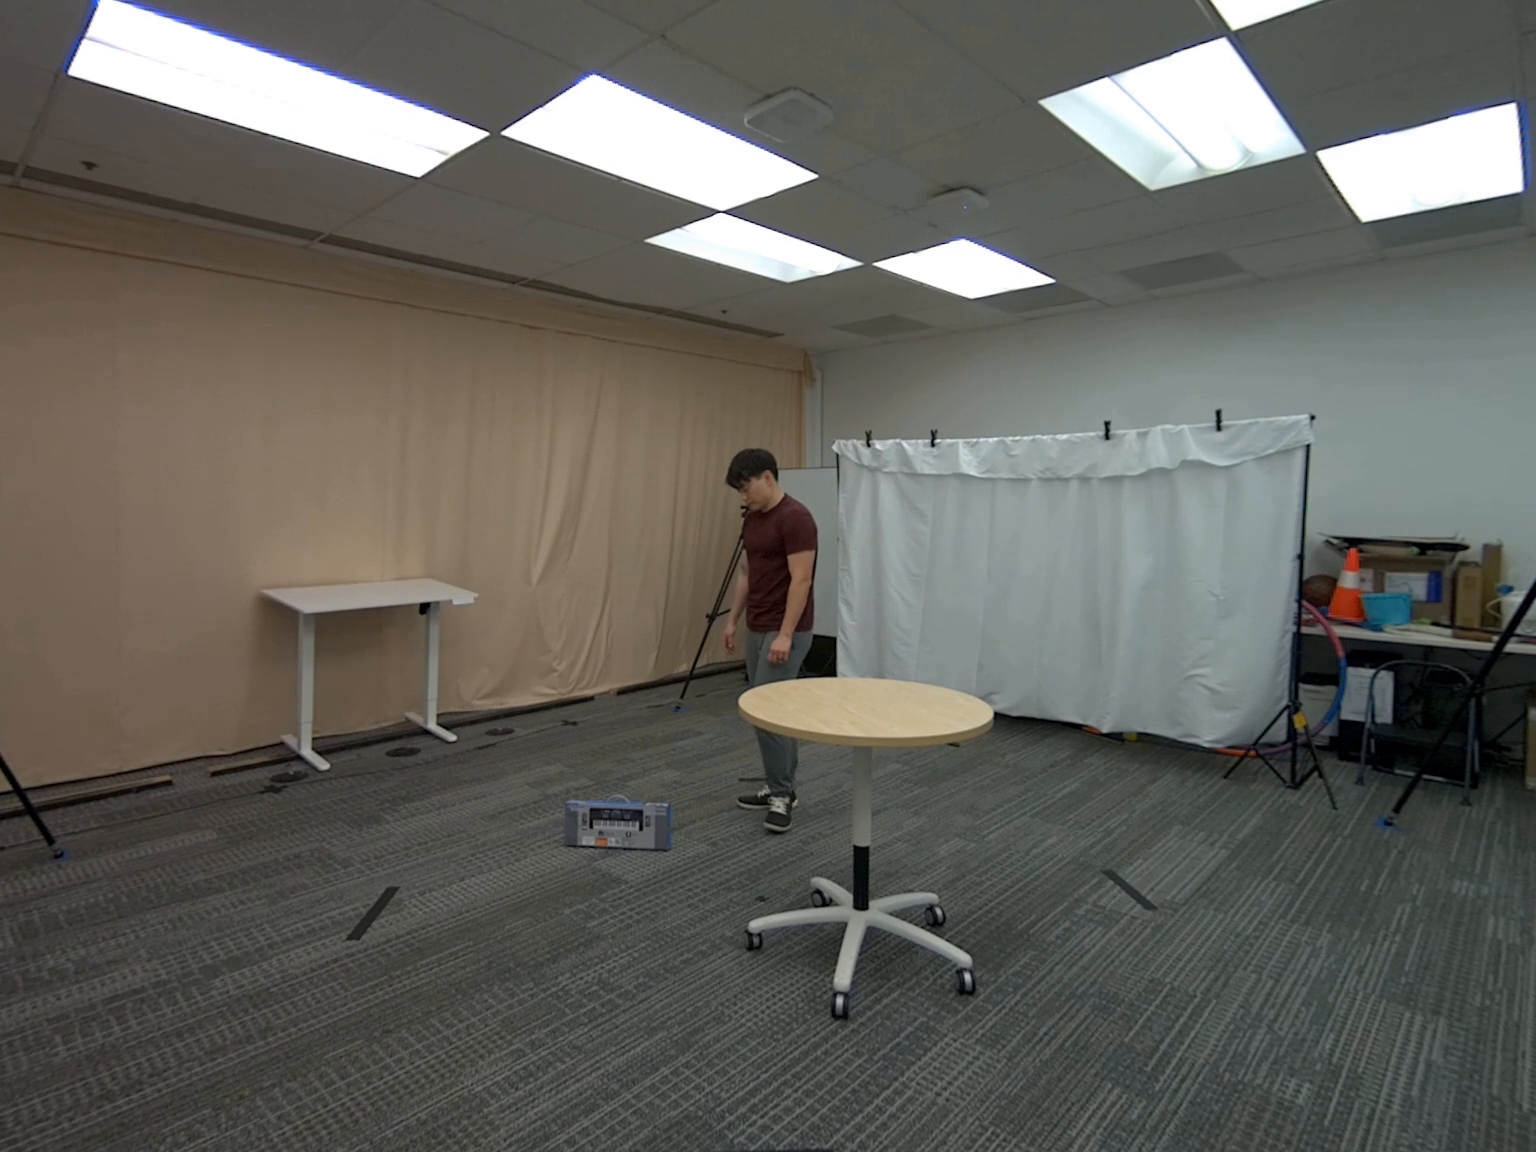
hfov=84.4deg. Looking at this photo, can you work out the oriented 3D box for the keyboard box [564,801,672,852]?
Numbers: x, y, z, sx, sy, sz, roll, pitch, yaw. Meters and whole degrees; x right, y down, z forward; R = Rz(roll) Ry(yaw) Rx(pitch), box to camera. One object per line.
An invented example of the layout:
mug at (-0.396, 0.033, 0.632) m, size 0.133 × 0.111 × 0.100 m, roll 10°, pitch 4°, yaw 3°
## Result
keyboard box at (-0.619, 1.022, 3.460) m, size 0.440 × 0.176 × 0.058 m, roll 0°, pitch -5°, yaw 8°
